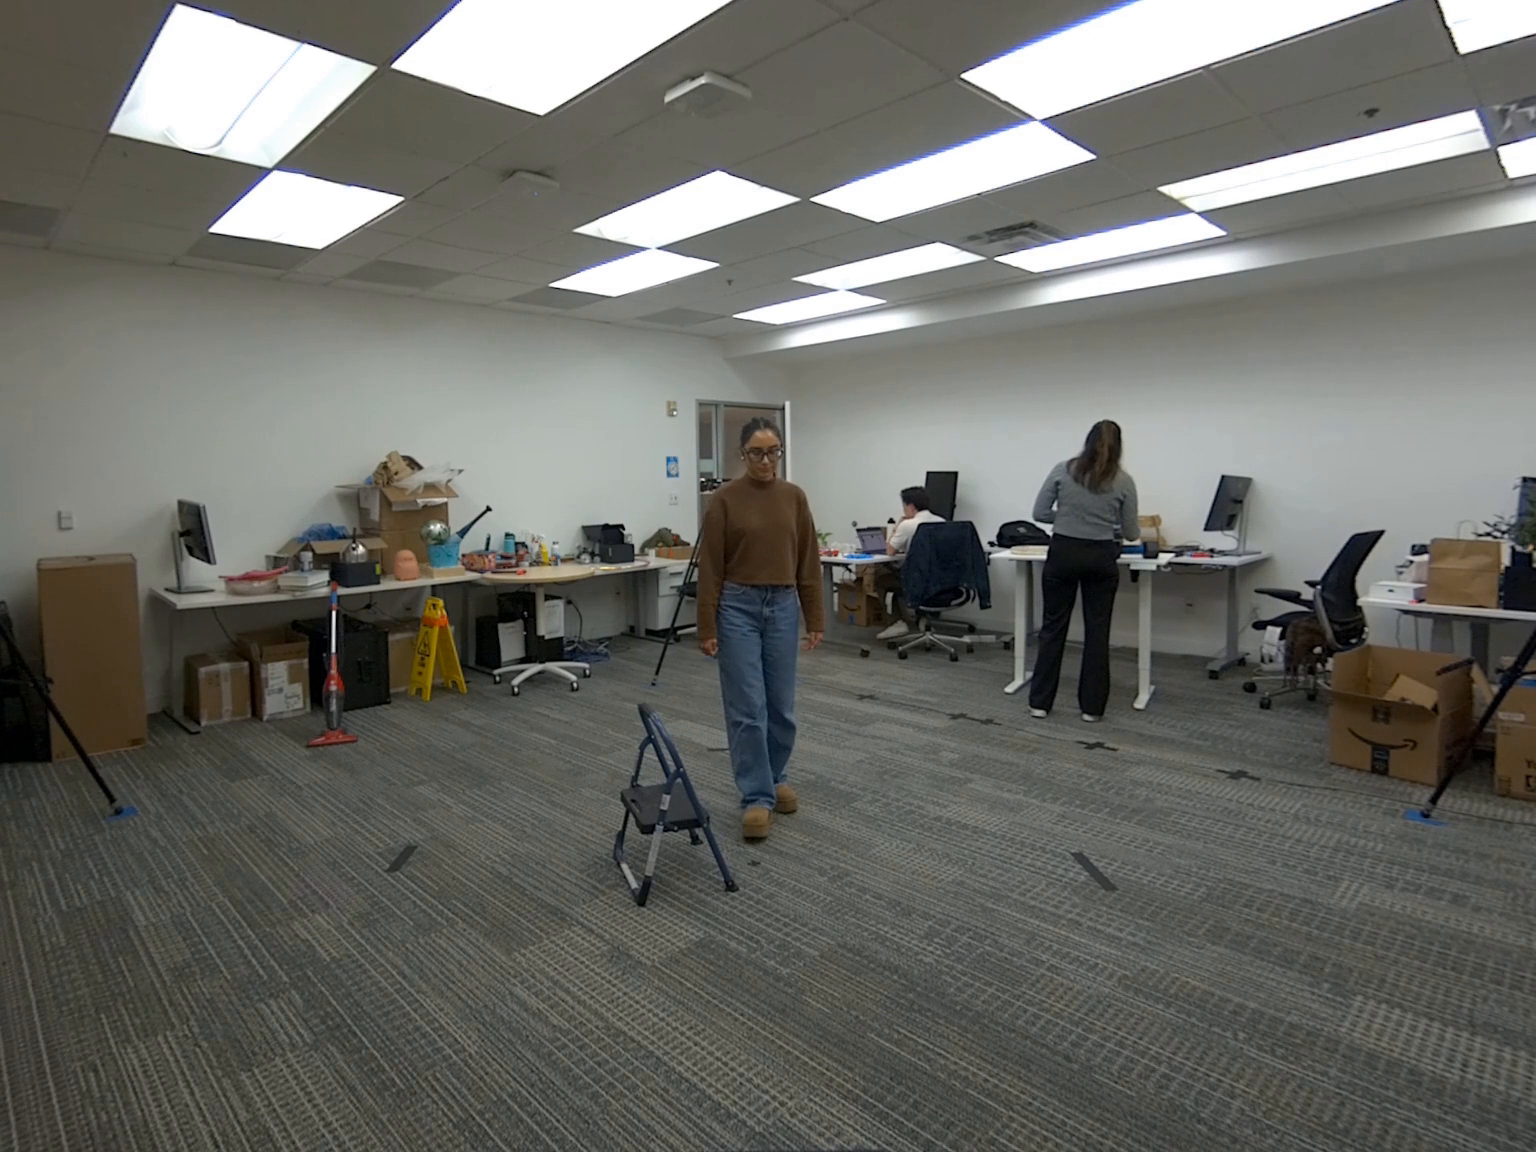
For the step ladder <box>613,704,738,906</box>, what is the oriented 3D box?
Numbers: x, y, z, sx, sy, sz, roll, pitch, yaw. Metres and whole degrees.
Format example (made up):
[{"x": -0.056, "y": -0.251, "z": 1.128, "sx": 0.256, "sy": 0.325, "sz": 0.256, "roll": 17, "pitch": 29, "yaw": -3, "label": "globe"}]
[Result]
[{"x": -0.344, "y": 0.757, "z": 3.030, "sx": 0.343, "sy": 0.604, "sz": 0.440, "roll": -2, "pitch": 5, "yaw": -22, "label": "step ladder"}]
